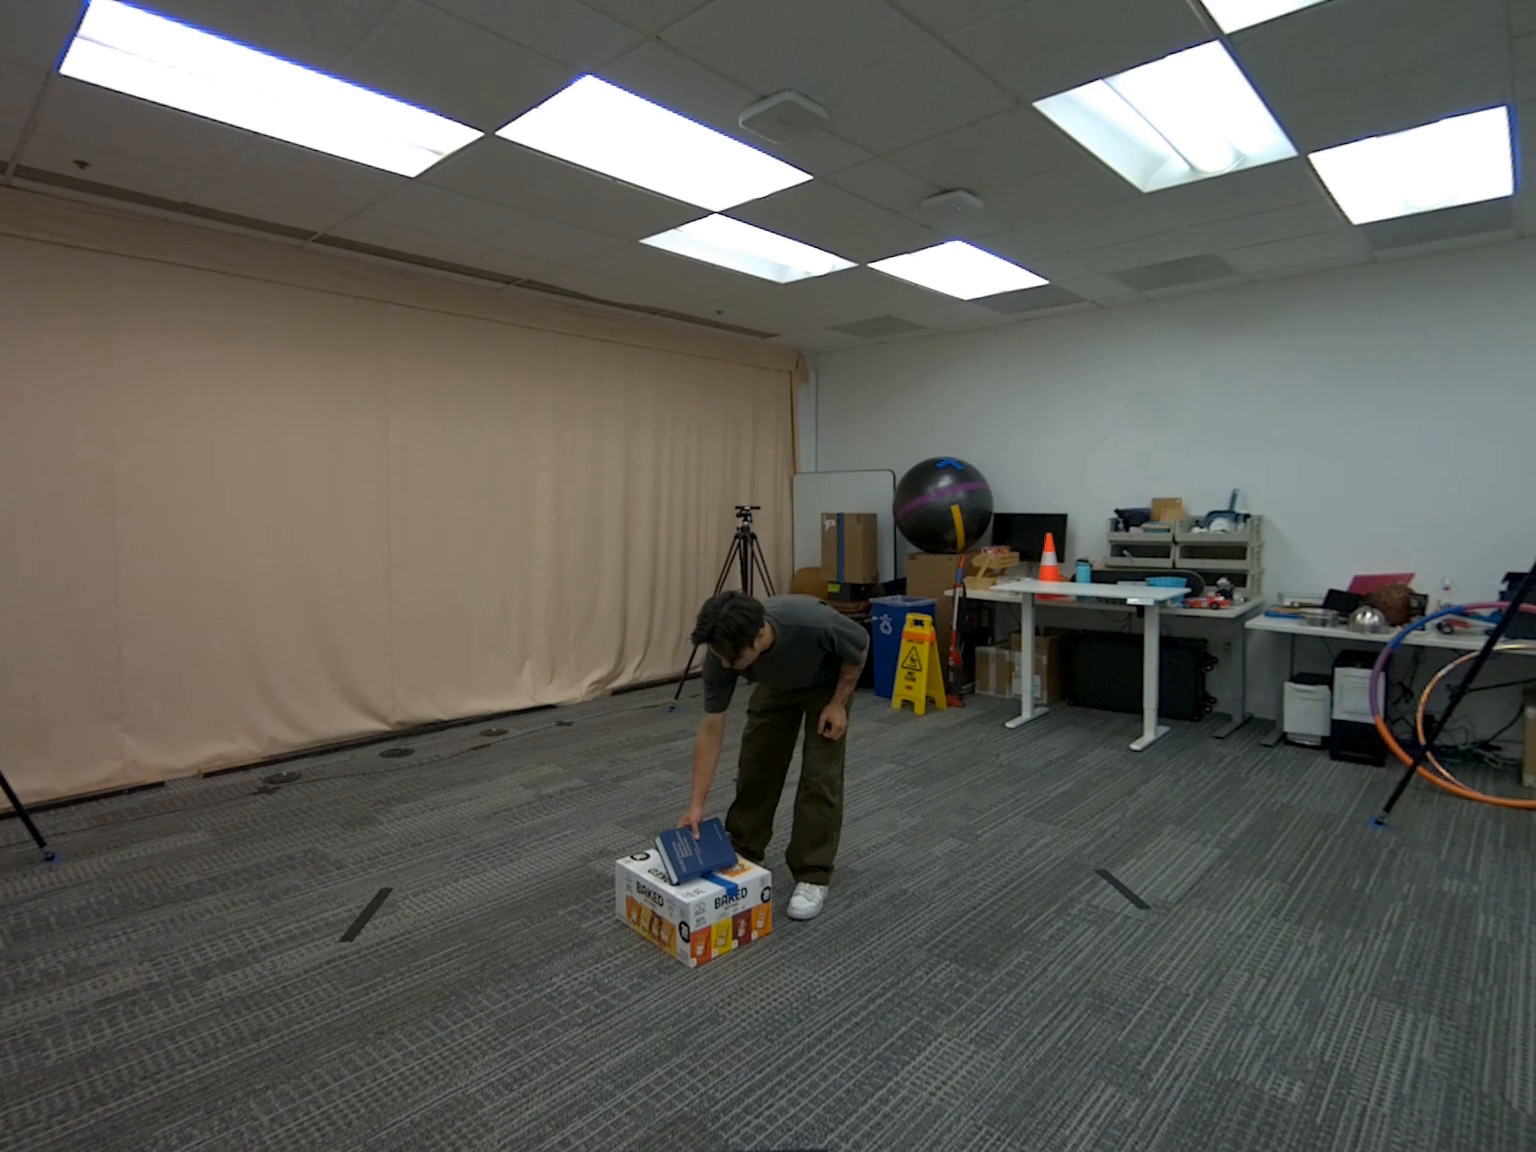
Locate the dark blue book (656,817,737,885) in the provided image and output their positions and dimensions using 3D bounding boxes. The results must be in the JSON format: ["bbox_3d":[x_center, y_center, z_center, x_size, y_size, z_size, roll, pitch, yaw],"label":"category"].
[{"bbox_3d":[-0.233,0.901,2.753,0.238,0.045,0.168,-1,48,-36],"label":"dark blue book"}]
